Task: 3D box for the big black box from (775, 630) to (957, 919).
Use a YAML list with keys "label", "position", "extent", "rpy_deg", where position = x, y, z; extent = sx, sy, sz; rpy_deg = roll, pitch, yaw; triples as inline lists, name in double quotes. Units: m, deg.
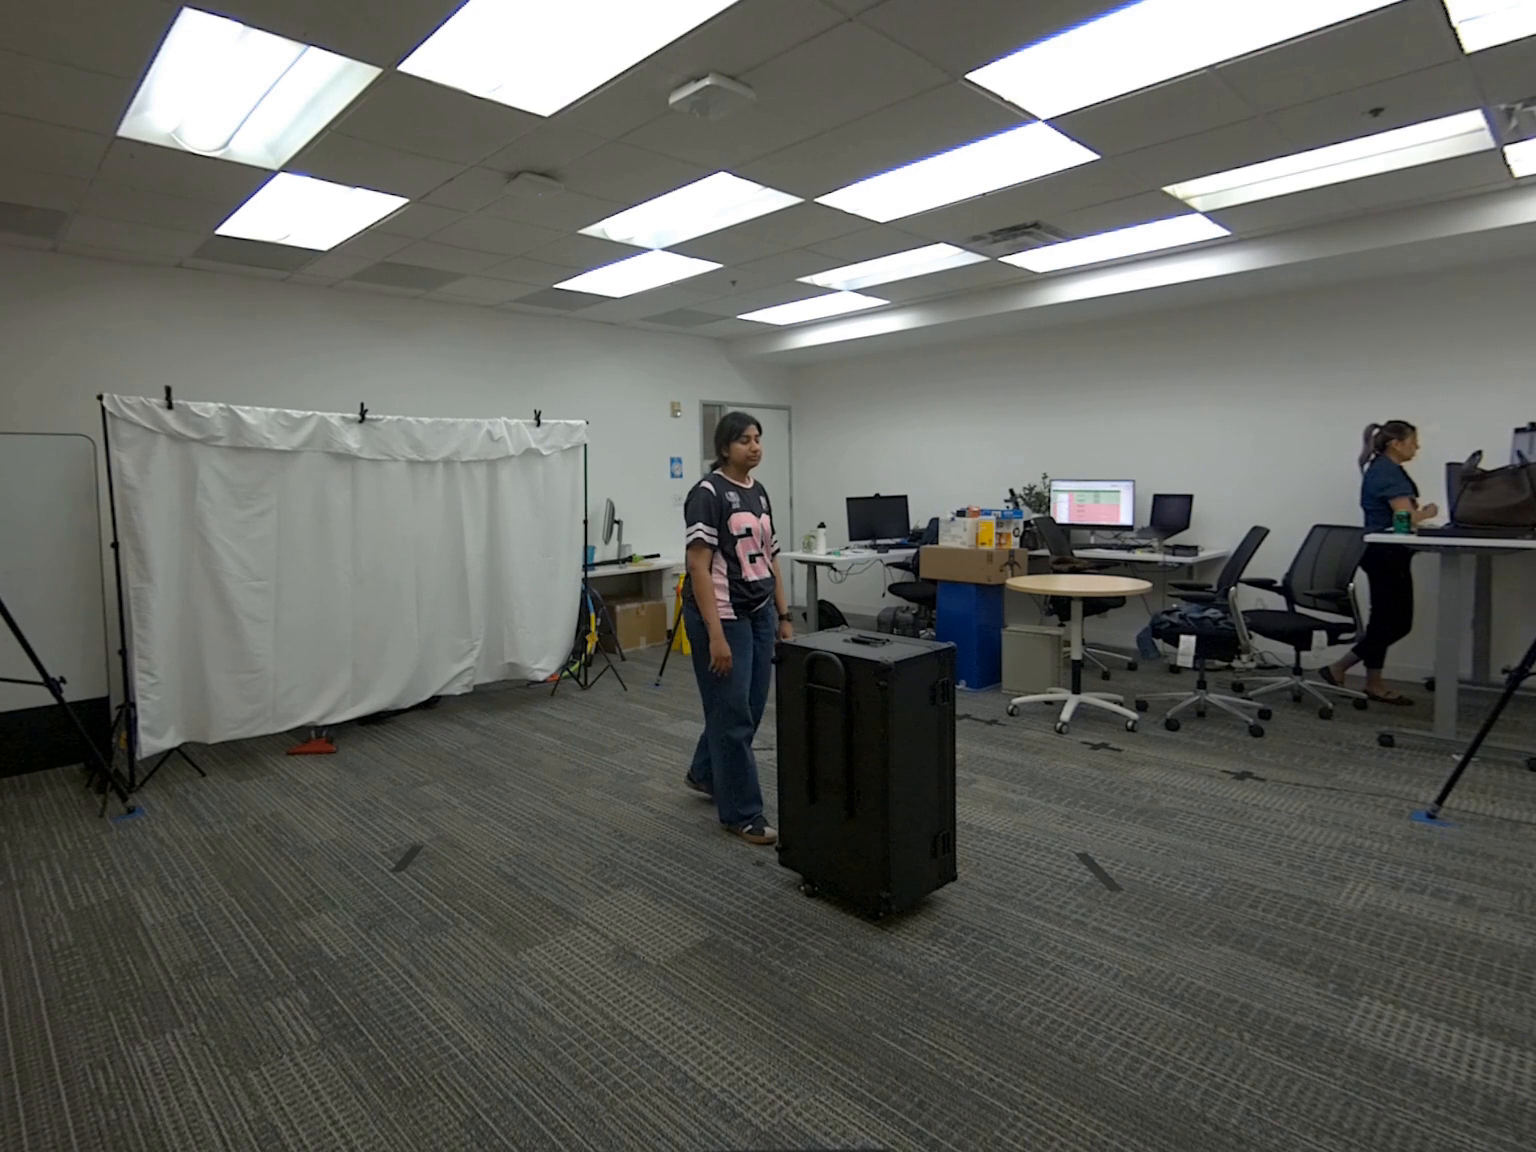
- label: "big black box"
  position: [0.333, 0.649, 2.839]
  extent: [0.375, 0.865, 0.539]
  rpy_deg: [-6, 6, -43]
